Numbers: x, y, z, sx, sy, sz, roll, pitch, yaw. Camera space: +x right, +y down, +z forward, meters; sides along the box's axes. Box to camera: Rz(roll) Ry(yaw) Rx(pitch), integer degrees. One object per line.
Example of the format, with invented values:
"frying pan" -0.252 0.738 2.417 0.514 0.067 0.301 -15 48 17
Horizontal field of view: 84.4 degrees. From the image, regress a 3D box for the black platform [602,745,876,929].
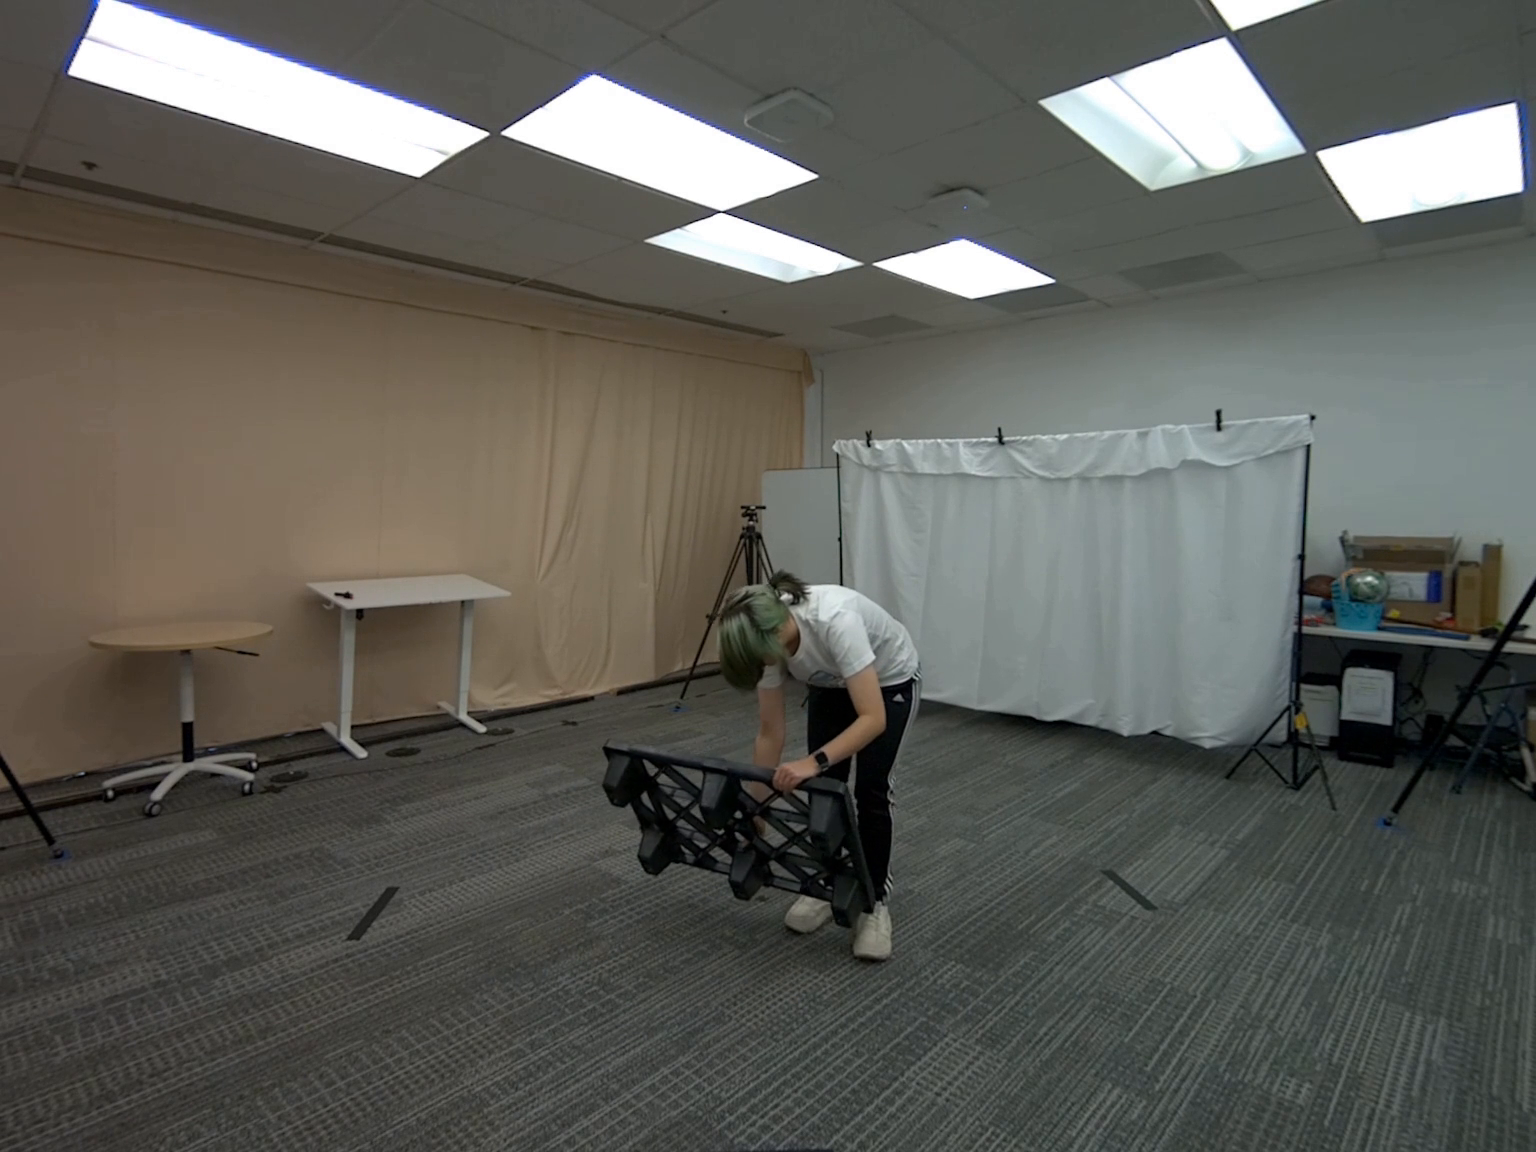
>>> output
"black platform" -0.112 0.812 2.601 0.827 0.590 0.143 4 37 26
